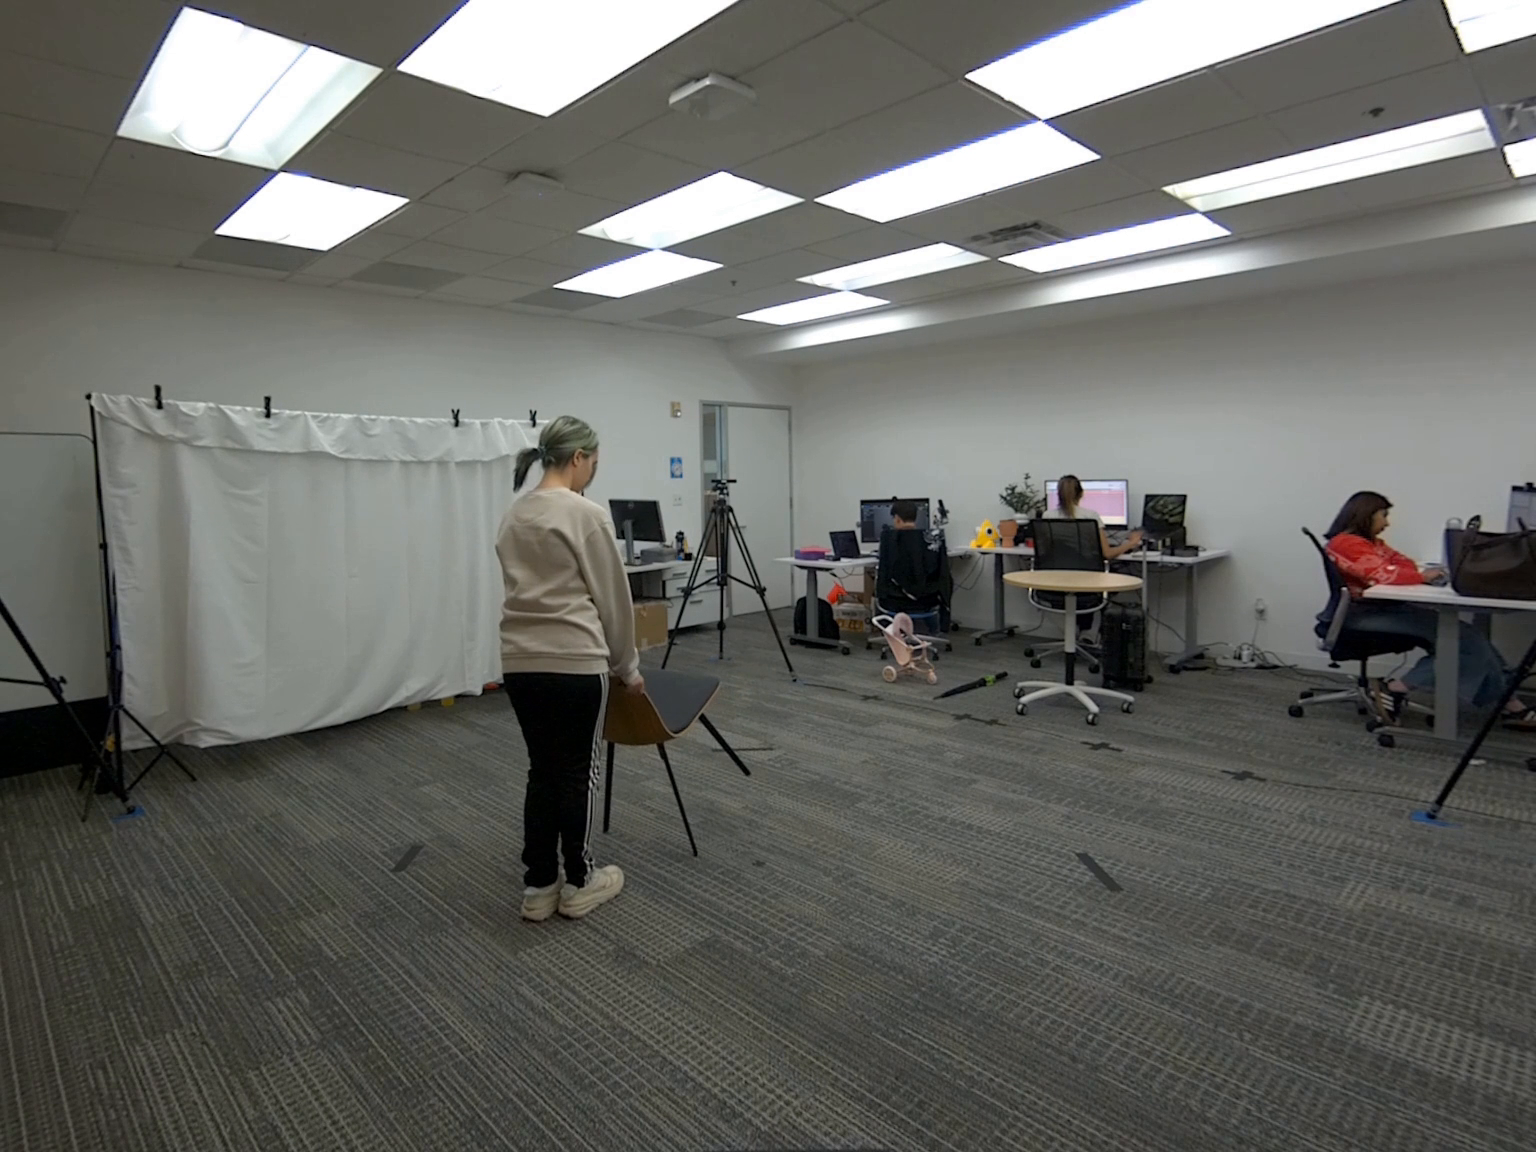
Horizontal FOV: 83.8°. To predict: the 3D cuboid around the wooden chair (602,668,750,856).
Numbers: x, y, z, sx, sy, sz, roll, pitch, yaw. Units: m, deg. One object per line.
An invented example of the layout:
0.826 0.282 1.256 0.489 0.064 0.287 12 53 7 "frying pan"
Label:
-0.449 0.549 3.298 0.491 0.853 0.524 2 33 31 "wooden chair"
